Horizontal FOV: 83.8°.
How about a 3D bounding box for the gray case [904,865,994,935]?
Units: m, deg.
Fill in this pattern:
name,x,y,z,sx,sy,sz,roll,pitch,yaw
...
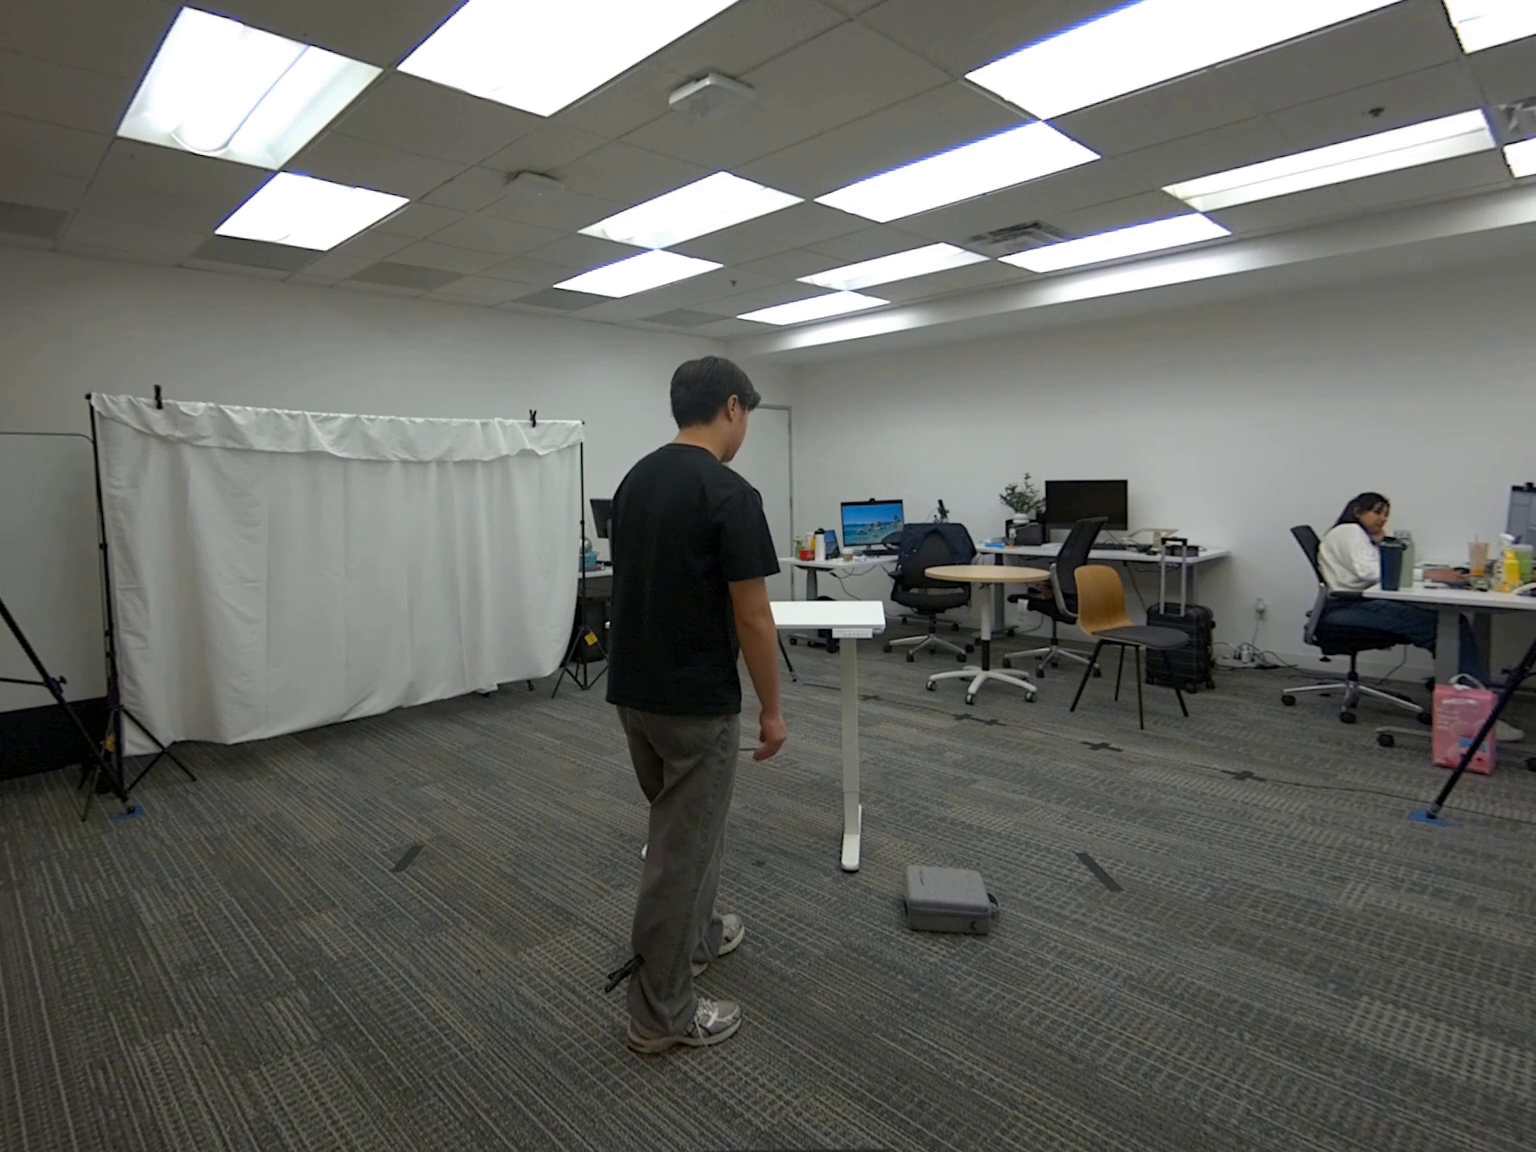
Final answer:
name,x,y,z,sx,sy,sz,roll,pitch,yaw
gray case,0.581,1.022,2.719,0.290,0.102,0.262,0,5,9
